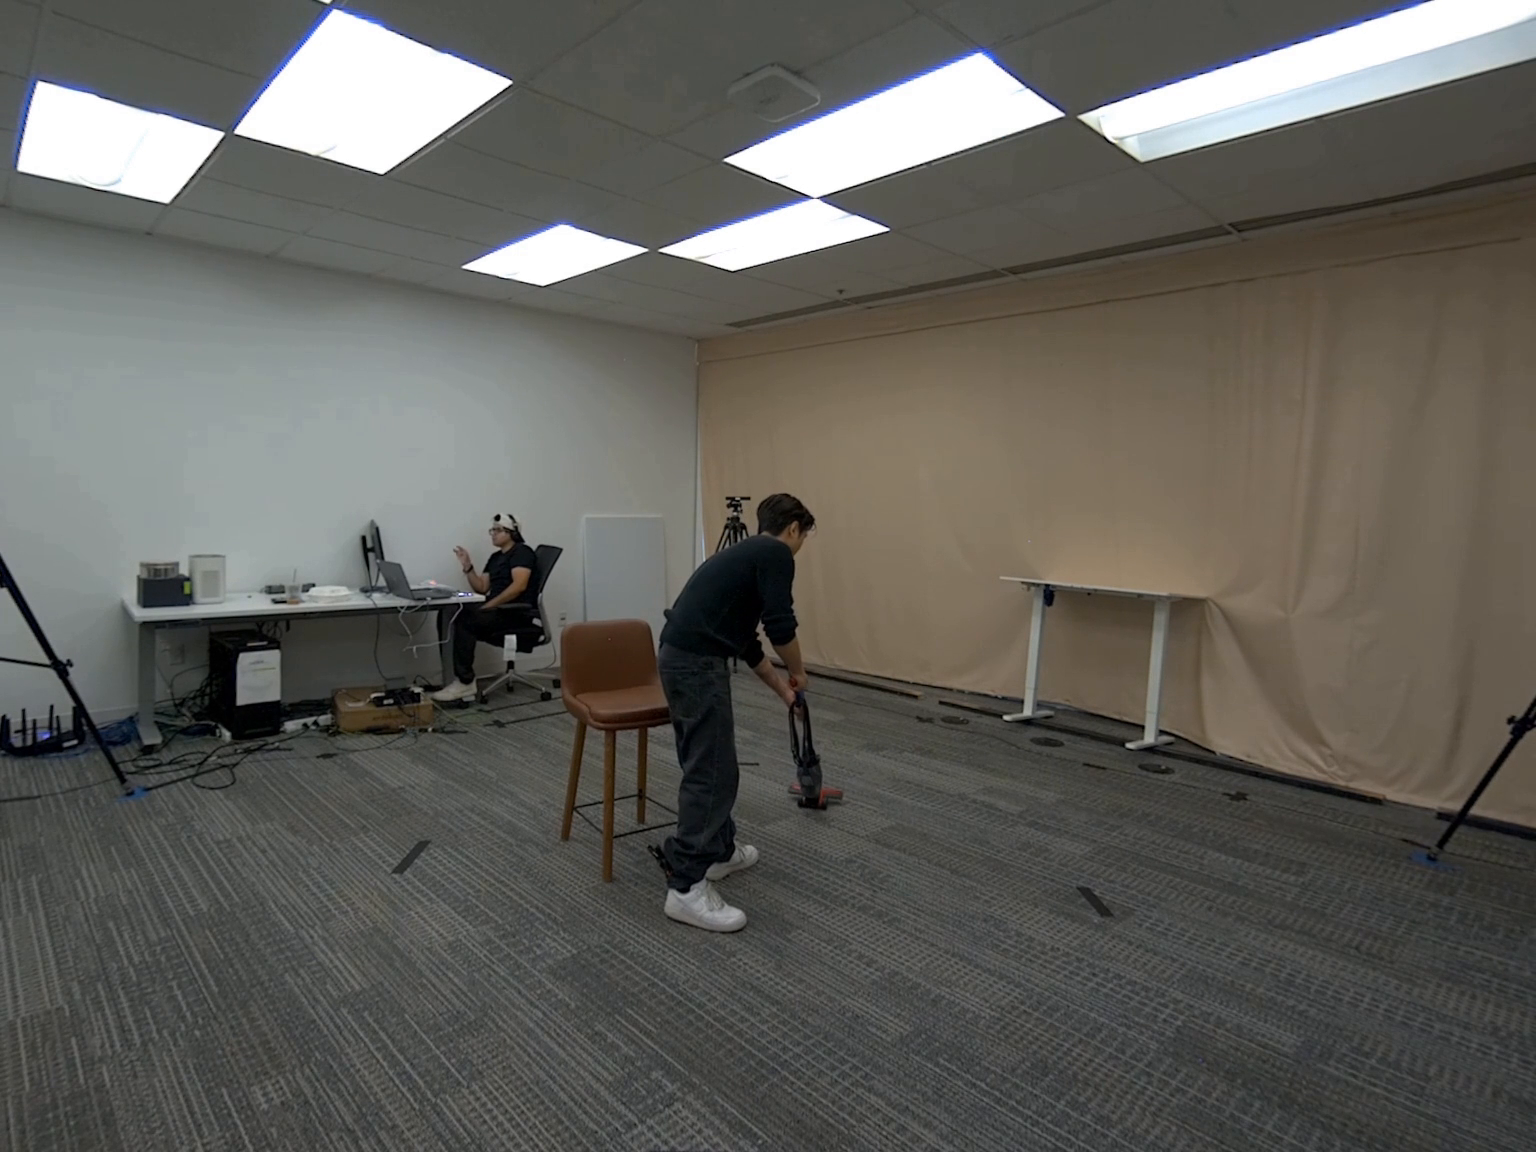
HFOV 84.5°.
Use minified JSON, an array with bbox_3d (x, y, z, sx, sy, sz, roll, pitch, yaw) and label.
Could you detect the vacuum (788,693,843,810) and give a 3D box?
[{"bbox_3d":[0.140,0.702,3.485,0.256,0.146,1.021,7,-38,16],"label":"vacuum"}]
